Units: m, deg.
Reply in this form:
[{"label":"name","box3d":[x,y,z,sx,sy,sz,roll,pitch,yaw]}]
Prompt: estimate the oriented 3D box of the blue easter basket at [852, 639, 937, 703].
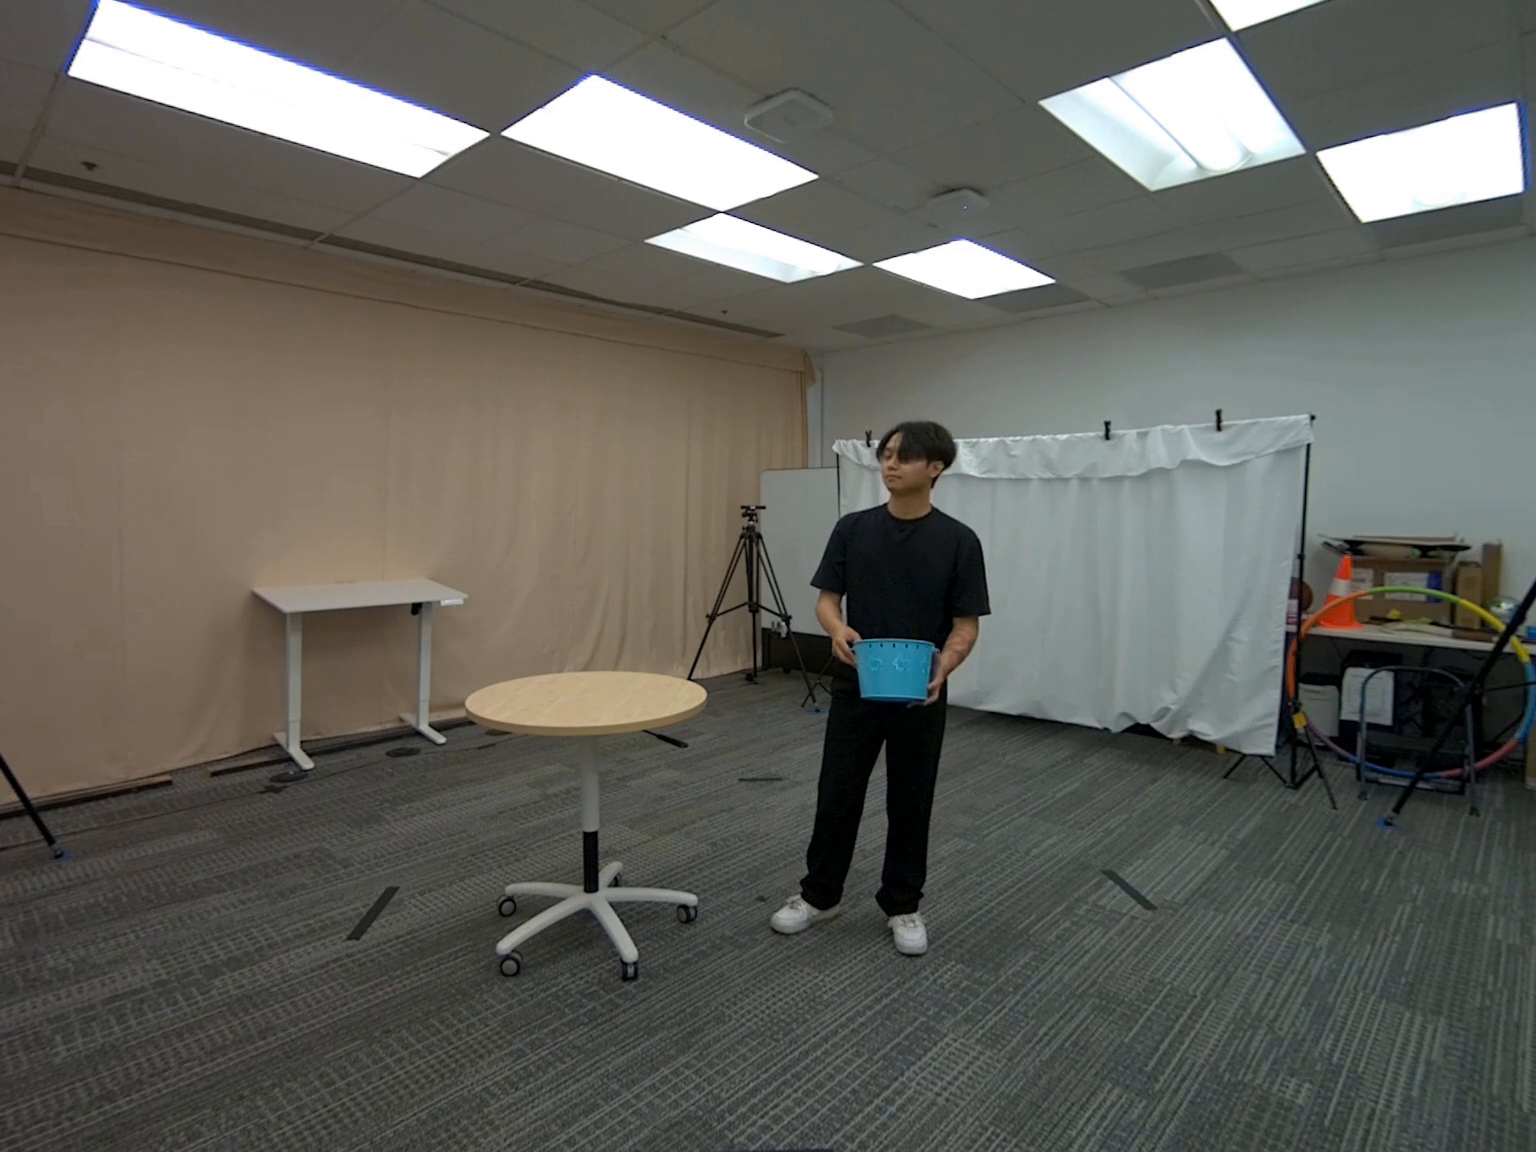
[{"label":"blue easter basket","box3d":[0.360,0.269,2.370,0.243,0.157,0.242,4,-10,-1]}]
